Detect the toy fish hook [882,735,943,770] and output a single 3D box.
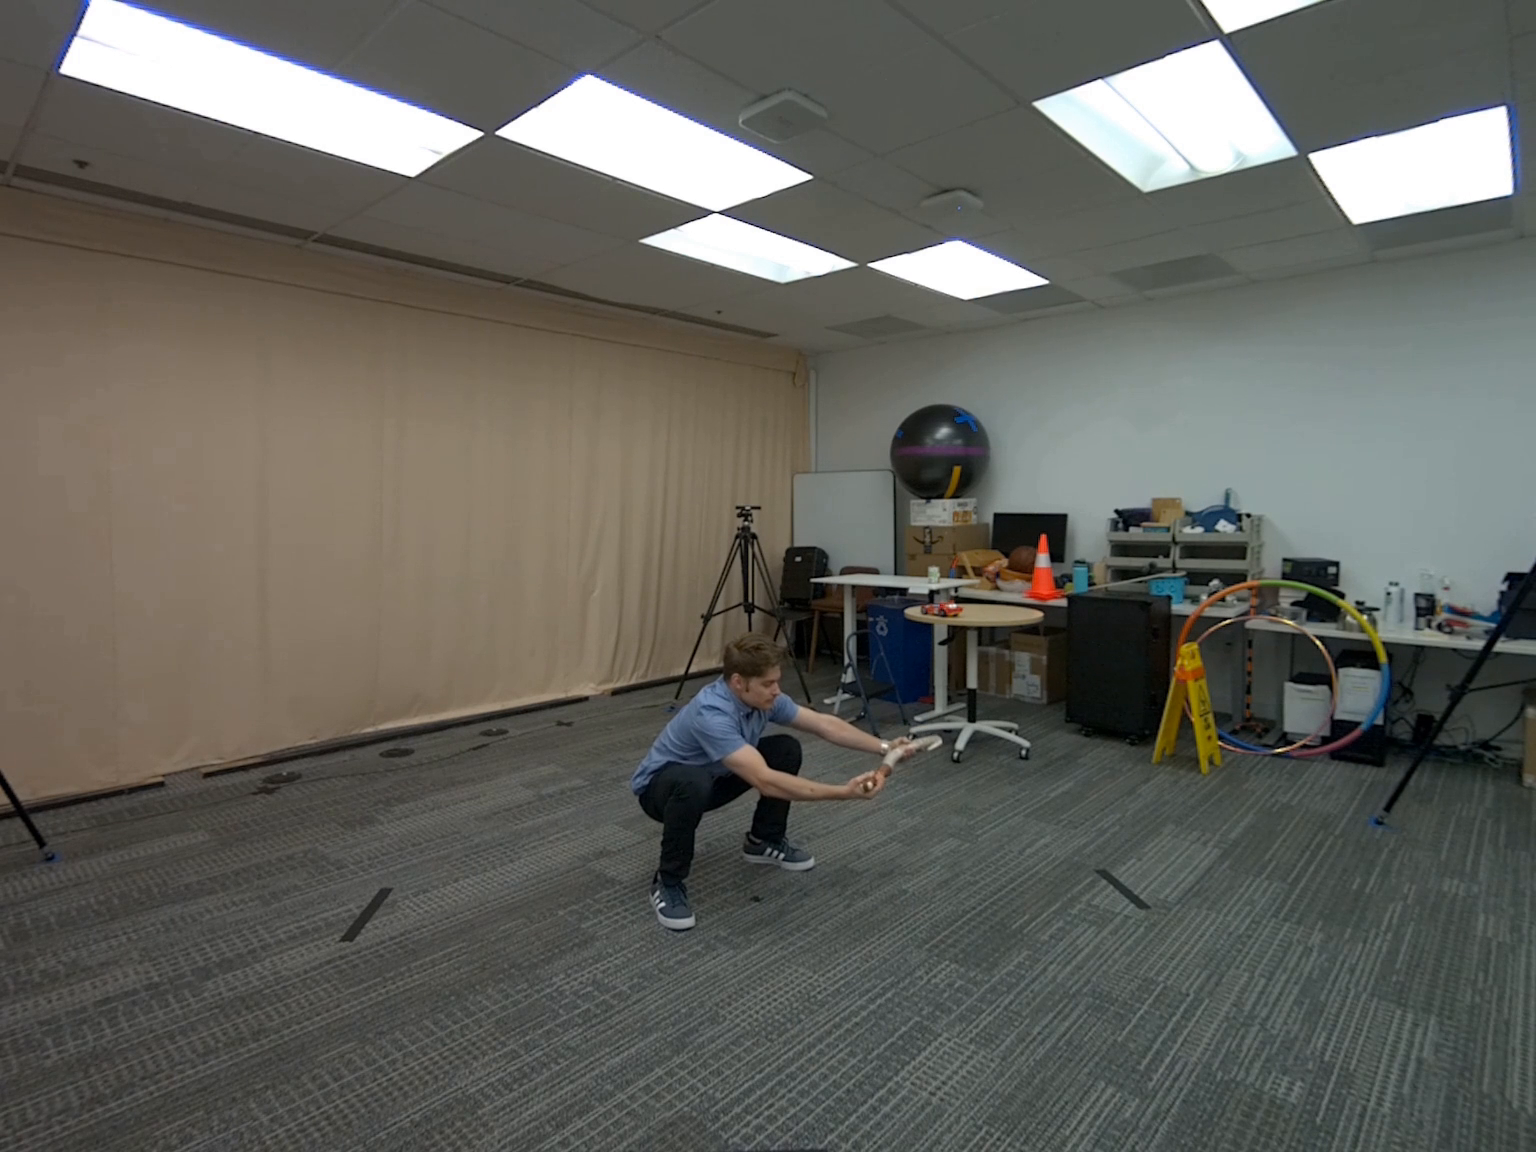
[{"bbox_3d":[0.469,0.652,2.956,0.228,0.049,0.495,-30,-6,25],"label":"toy fish hook"}]
